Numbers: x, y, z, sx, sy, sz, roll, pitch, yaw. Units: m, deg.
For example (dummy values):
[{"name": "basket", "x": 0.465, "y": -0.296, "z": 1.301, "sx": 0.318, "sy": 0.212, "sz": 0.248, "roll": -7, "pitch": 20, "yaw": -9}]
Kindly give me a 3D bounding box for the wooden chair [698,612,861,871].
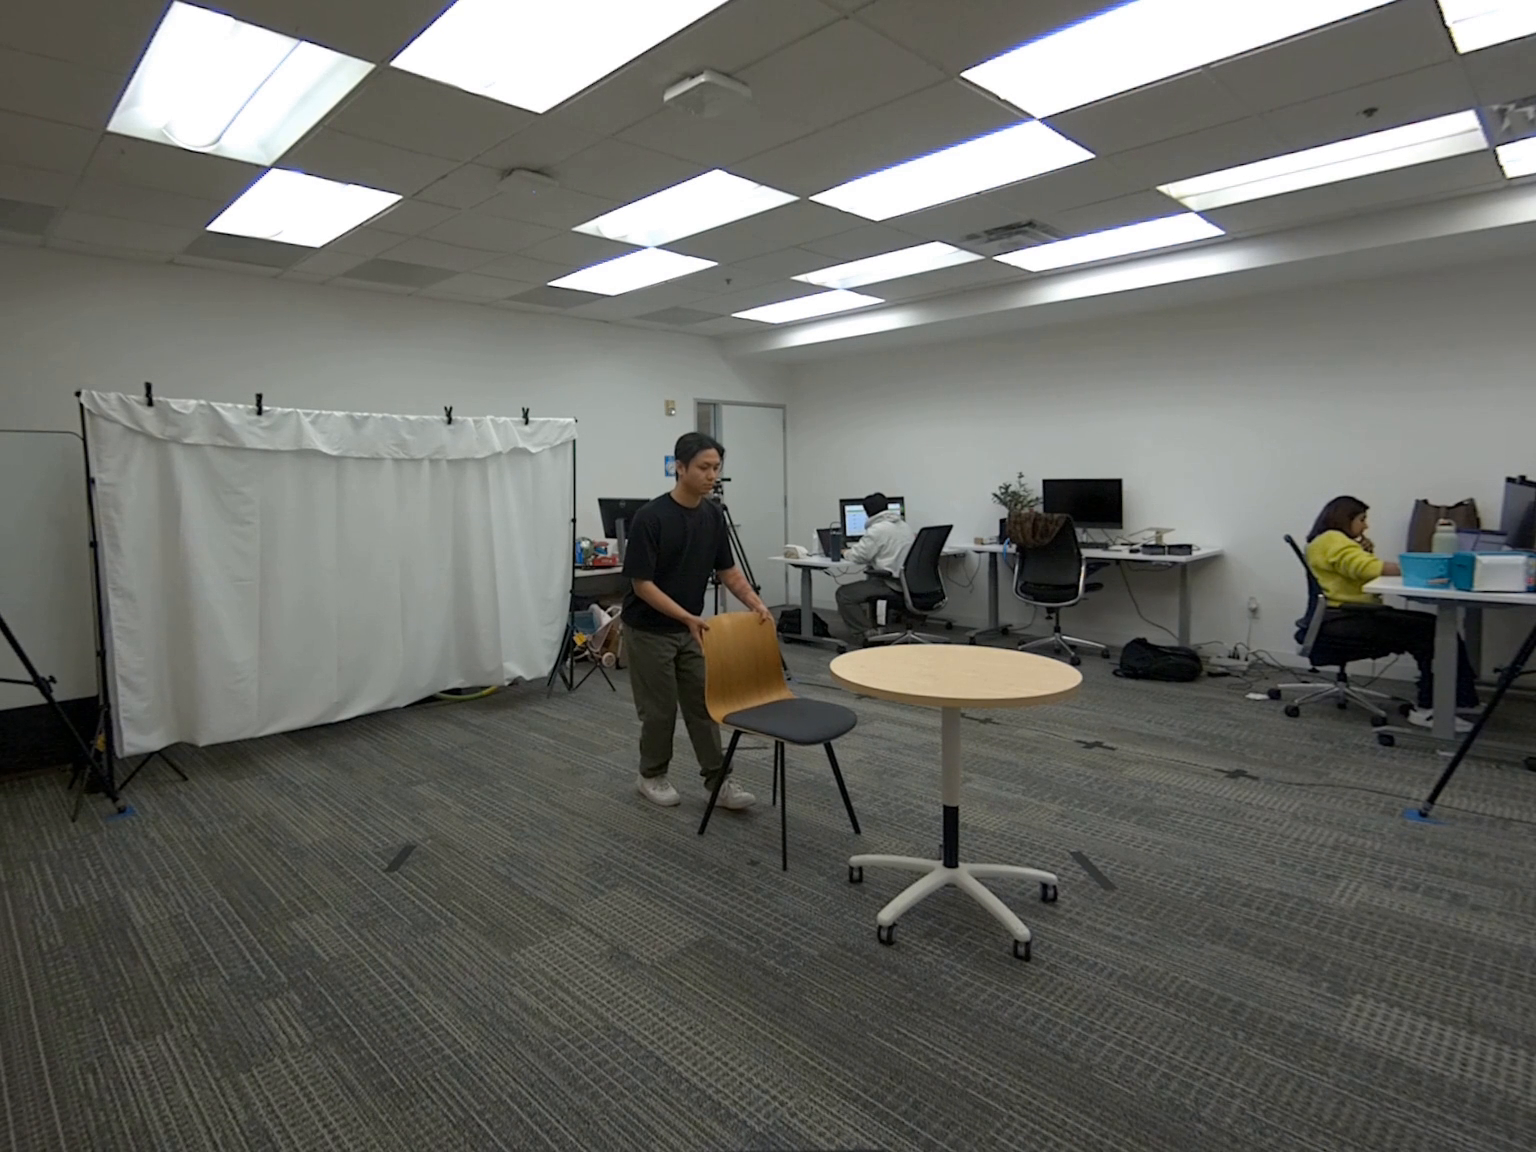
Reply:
[{"name": "wooden chair", "x": 0.047, "y": 0.589, "z": 3.307, "sx": 0.538, "sy": 0.877, "sz": 0.465, "roll": -3, "pitch": 1, "yaw": 45}]
